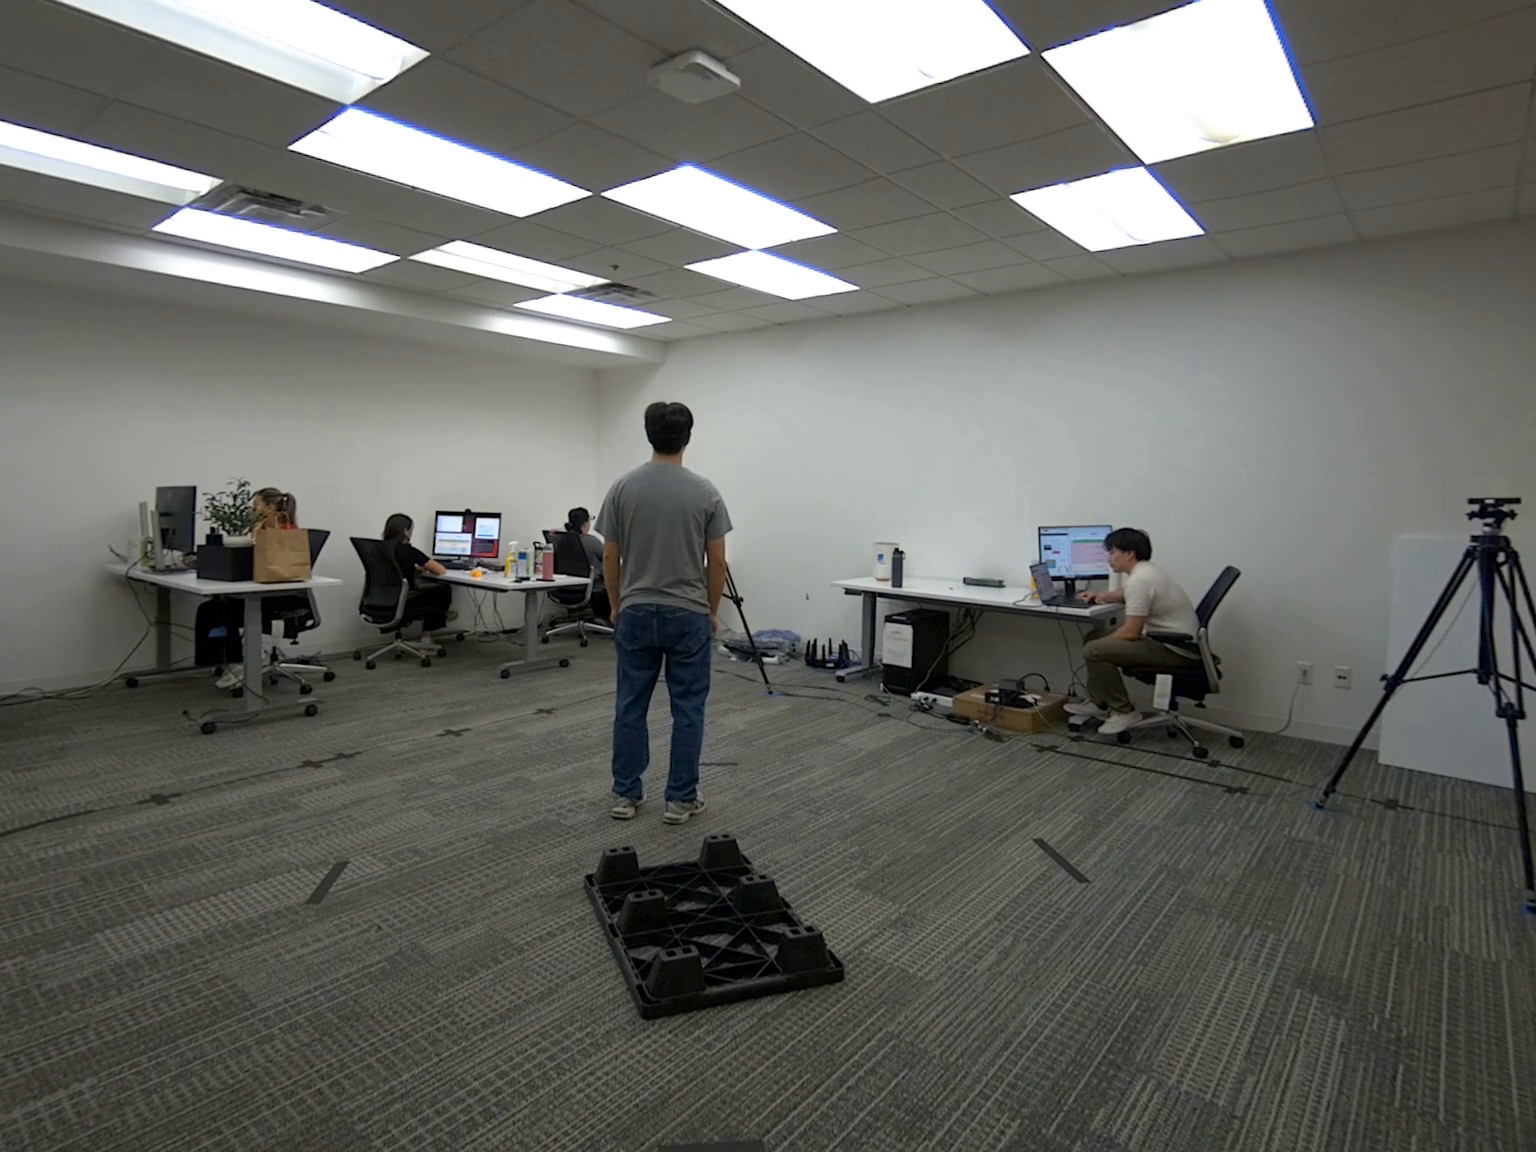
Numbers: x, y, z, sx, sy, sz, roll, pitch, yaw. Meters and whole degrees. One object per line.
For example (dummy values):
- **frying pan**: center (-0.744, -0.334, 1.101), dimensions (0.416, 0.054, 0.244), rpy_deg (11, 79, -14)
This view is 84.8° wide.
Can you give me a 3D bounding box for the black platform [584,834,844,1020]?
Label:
- **black platform**: center (-0.221, 1.041, 2.682), dimensions (0.592, 0.143, 0.826), rpy_deg (-2, 6, -23)
